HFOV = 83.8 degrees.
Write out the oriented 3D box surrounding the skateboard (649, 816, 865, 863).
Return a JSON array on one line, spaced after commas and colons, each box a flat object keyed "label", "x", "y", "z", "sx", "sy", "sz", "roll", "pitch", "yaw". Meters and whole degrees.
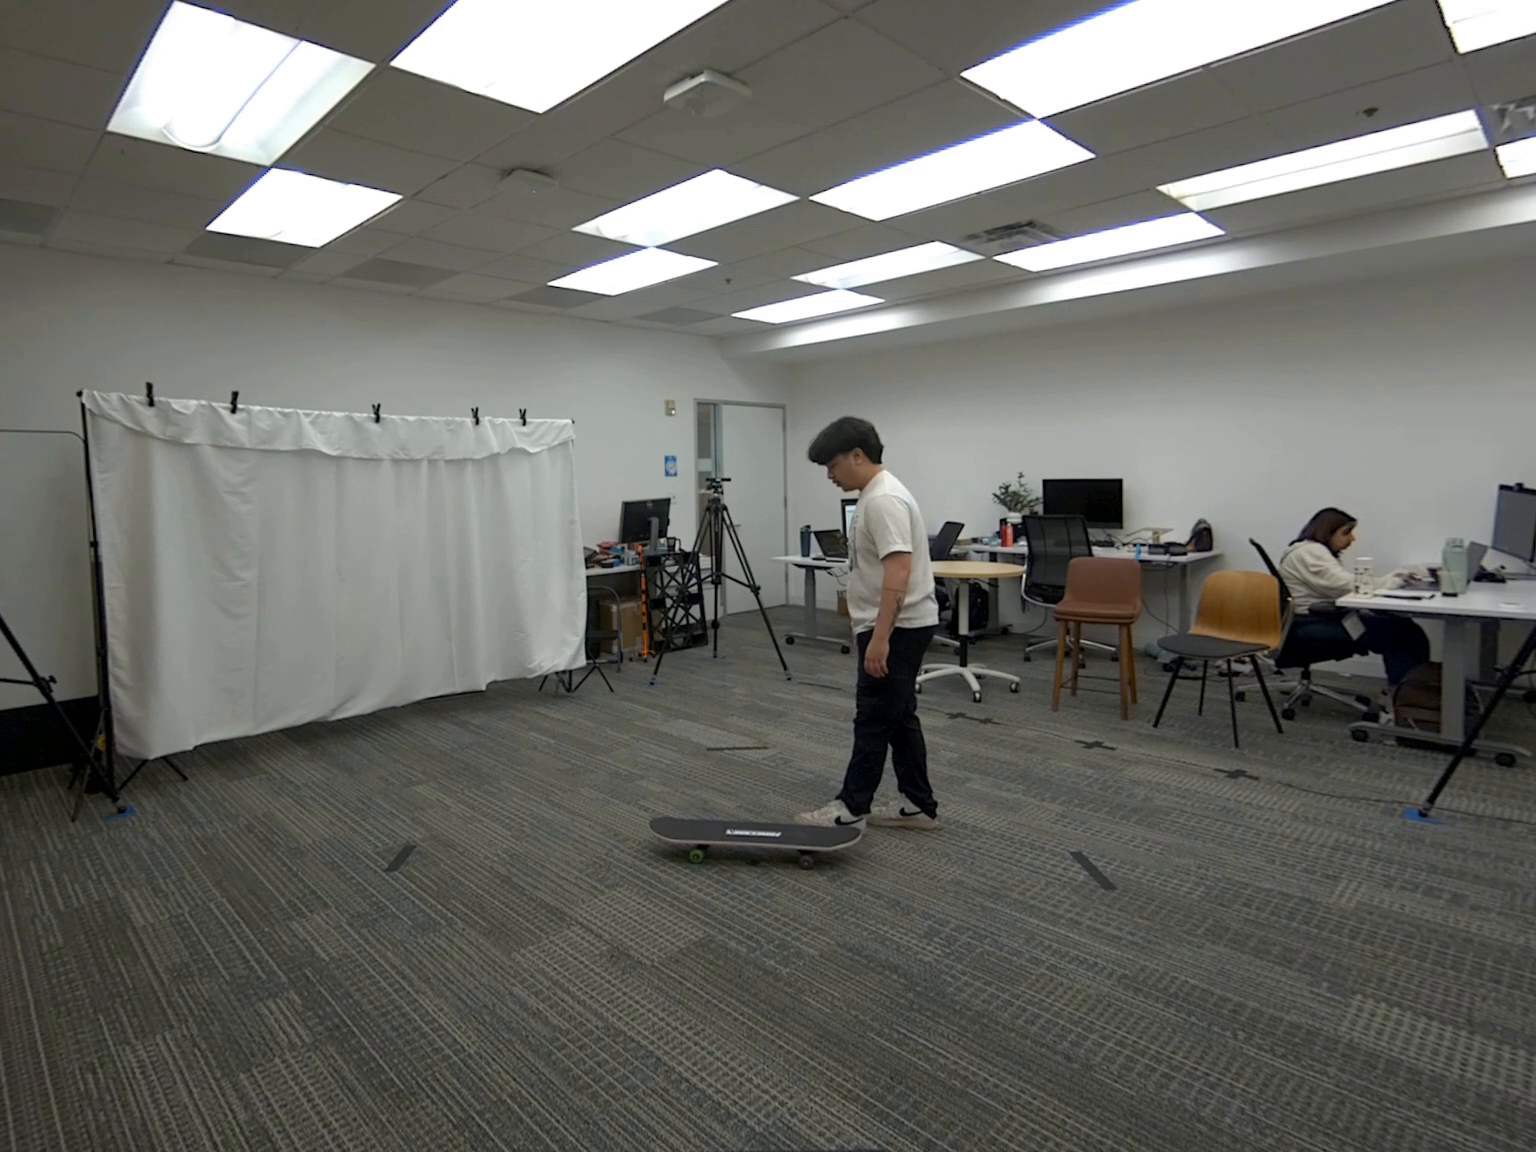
[{"label": "skateboard", "x": -0.049, "y": 0.977, "z": 3.156, "sx": 0.792, "sy": 0.110, "sz": 0.193, "roll": 0, "pitch": 6, "yaw": 8}]
